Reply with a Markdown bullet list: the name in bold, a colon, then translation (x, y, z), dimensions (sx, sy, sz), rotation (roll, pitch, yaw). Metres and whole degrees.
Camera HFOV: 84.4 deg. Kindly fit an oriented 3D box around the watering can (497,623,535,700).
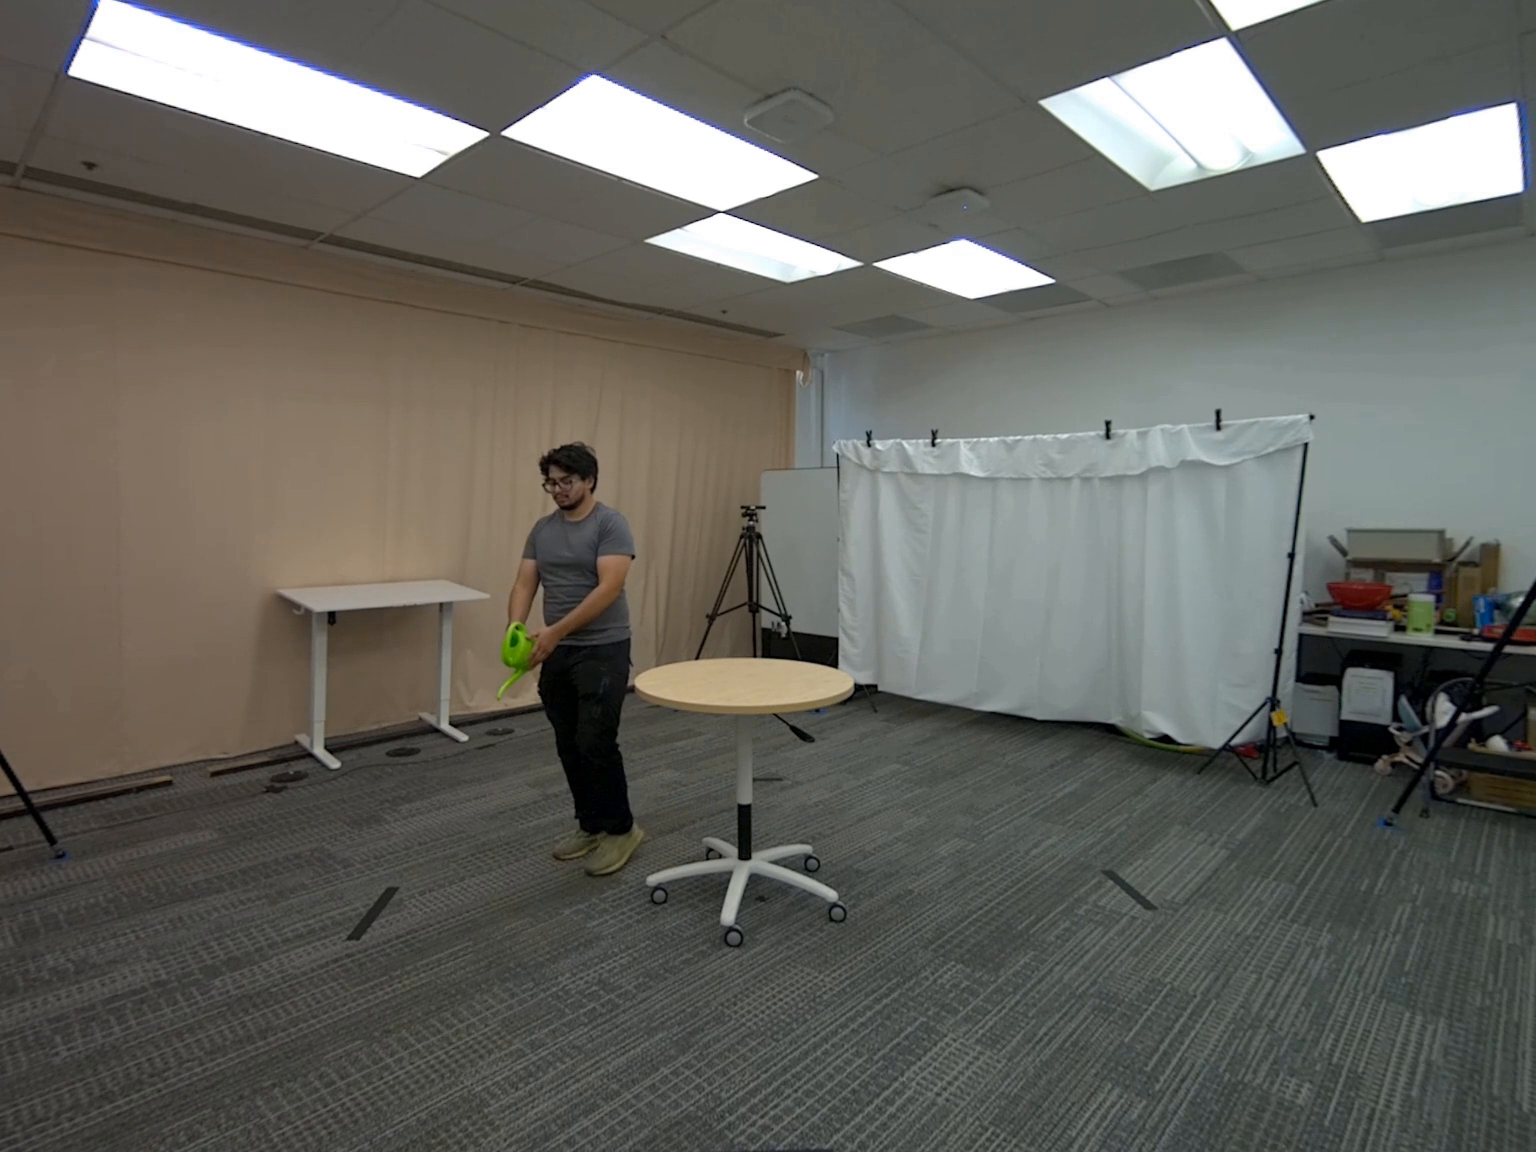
- **watering can**: translation (-0.895, 0.305, 3.001), dimensions (0.100, 0.279, 0.172), rotation (12, -12, 18)
